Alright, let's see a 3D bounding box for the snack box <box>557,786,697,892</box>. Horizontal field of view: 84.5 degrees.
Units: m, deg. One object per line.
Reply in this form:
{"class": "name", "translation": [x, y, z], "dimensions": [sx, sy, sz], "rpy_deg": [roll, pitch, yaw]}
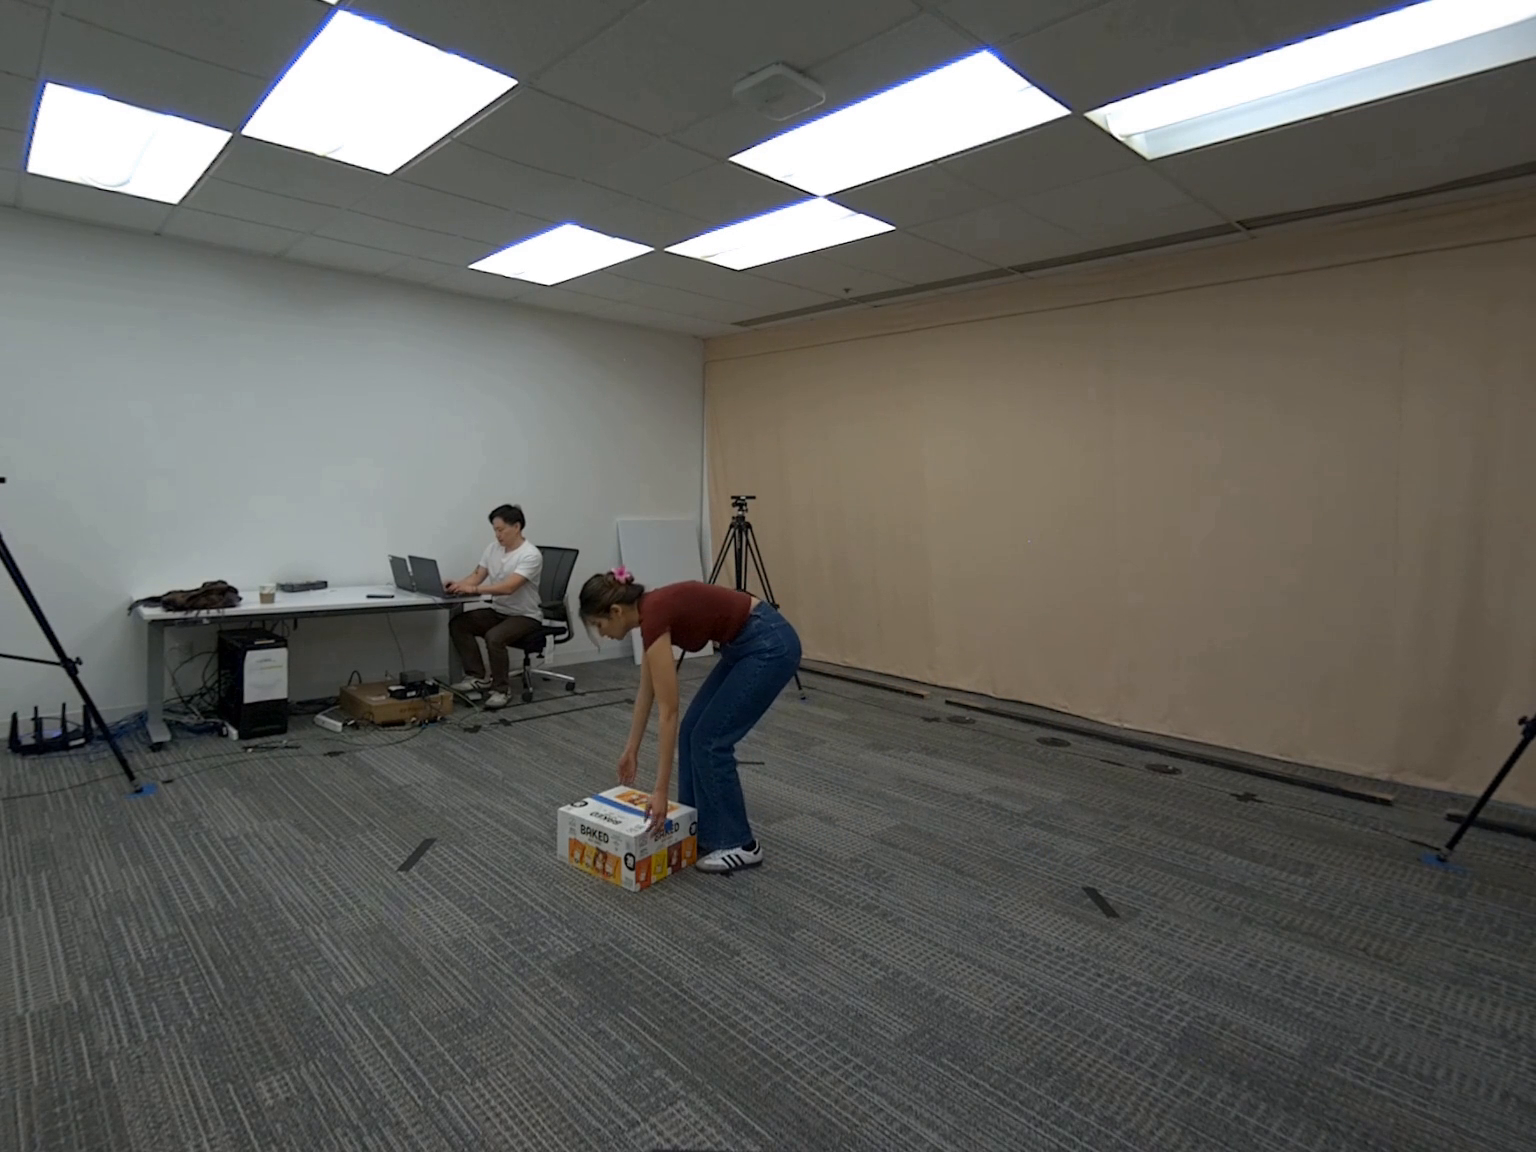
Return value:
{"class": "snack box", "translation": [-0.538, 0.982, 3.190], "dimensions": [0.415, 0.205, 0.333], "rpy_deg": [5, 6, 36]}
